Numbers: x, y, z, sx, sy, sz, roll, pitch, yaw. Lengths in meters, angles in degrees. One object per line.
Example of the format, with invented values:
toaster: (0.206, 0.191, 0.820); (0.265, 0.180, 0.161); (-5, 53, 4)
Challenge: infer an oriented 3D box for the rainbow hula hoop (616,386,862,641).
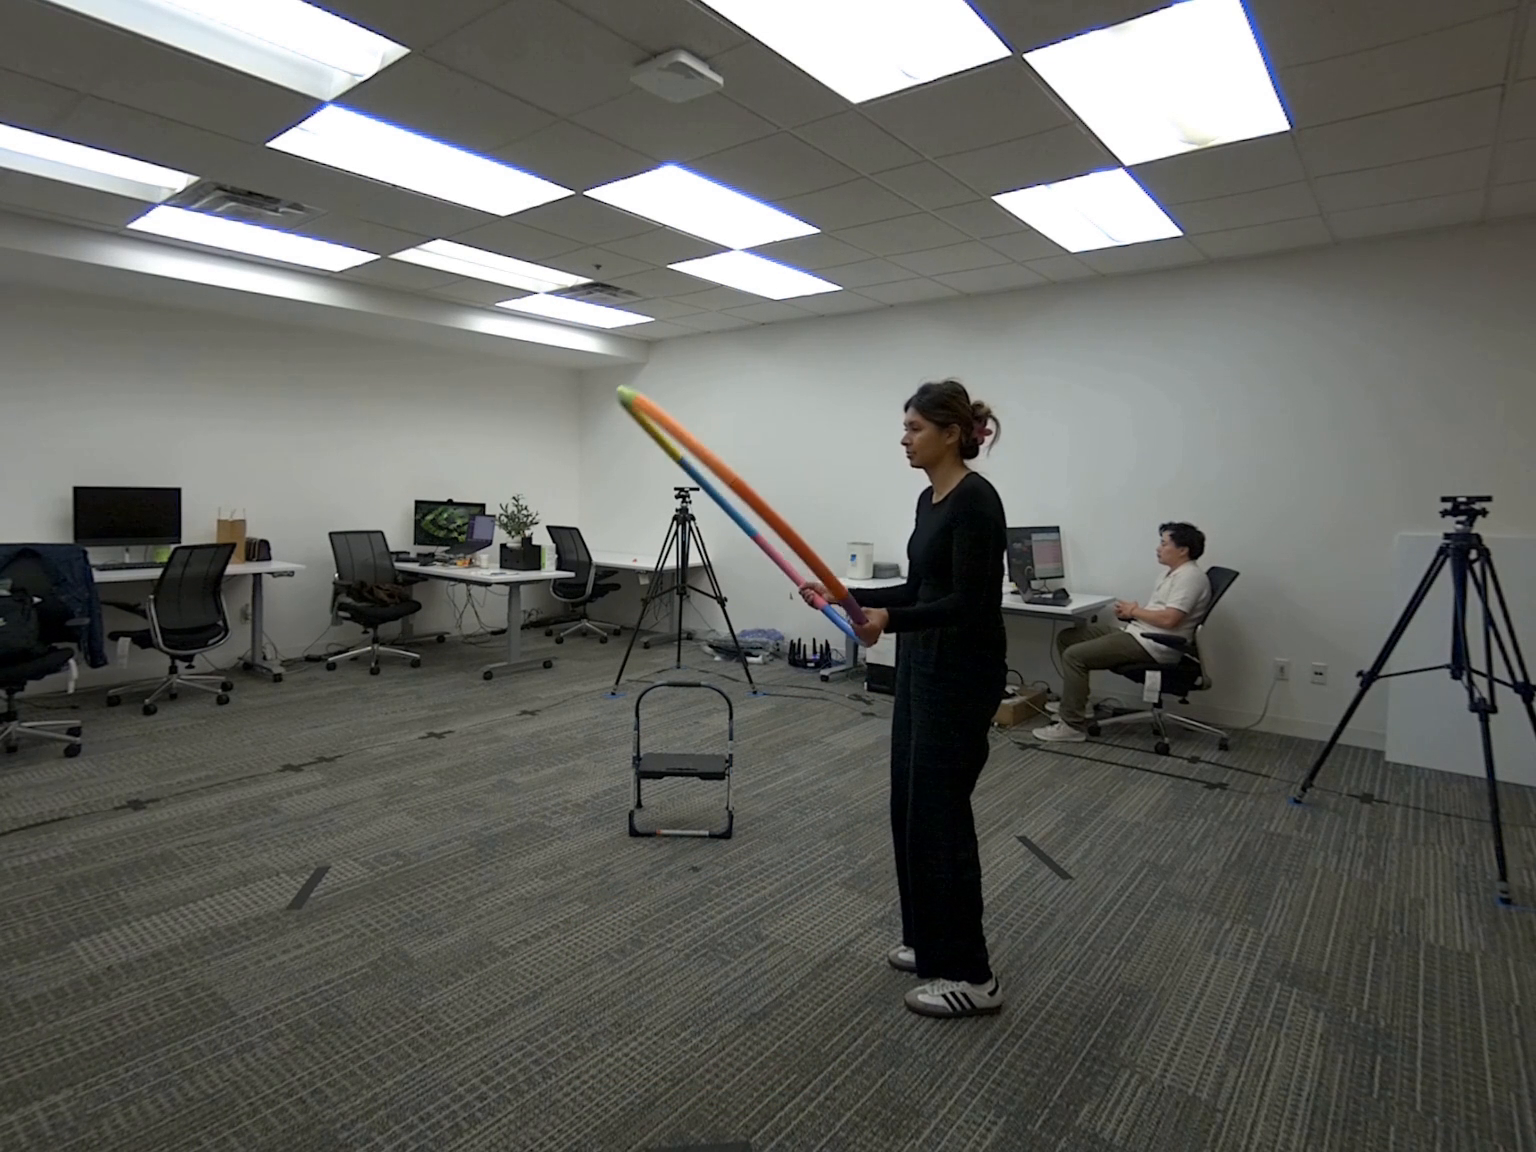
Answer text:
rainbow hula hoop: (-0.063, -0.155, 2.363); (0.979, 0.035, 0.980); (44, -1, -2)
